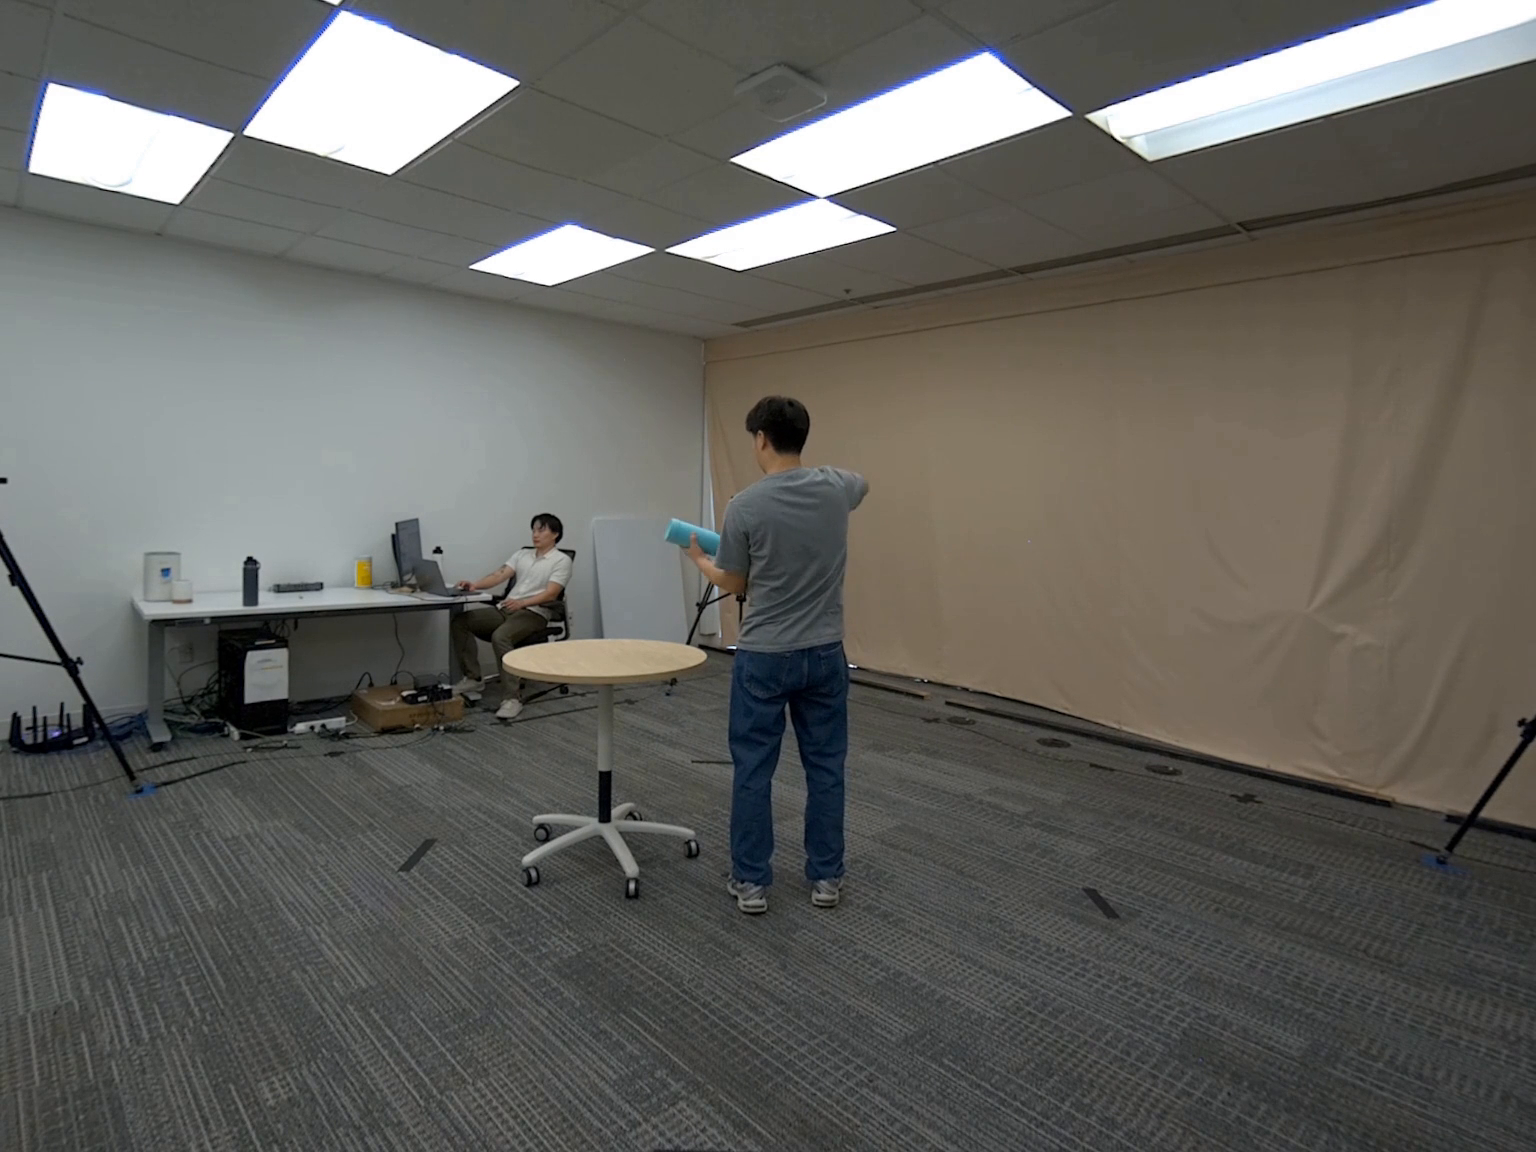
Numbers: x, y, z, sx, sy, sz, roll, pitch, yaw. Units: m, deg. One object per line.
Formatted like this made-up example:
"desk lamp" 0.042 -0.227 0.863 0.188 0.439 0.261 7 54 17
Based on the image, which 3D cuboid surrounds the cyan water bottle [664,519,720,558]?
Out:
"cyan water bottle" -0.240 -0.143 3.176 0.281 0.092 0.093 16 1 -9
